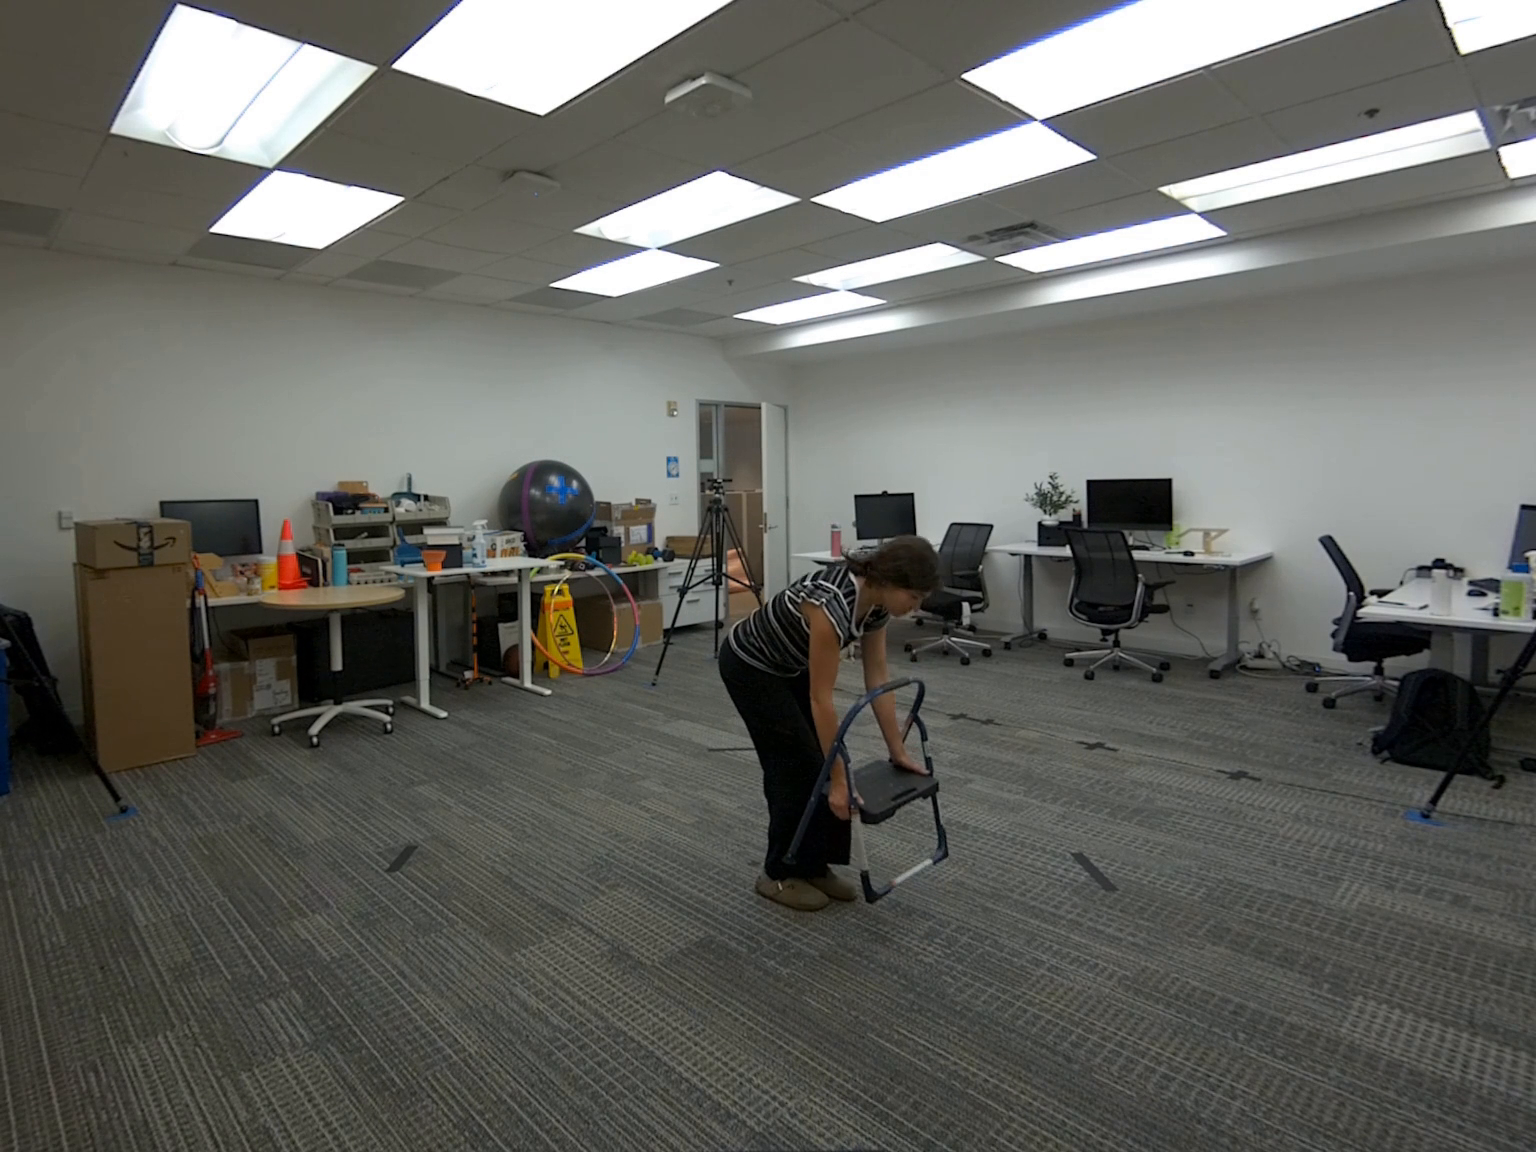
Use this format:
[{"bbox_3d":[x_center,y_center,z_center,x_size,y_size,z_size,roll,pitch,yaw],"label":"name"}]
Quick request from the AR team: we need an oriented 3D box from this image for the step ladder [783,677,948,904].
[{"bbox_3d":[0.325,0.605,2.680,0.361,0.602,0.420,8,11,44],"label":"step ladder"}]
